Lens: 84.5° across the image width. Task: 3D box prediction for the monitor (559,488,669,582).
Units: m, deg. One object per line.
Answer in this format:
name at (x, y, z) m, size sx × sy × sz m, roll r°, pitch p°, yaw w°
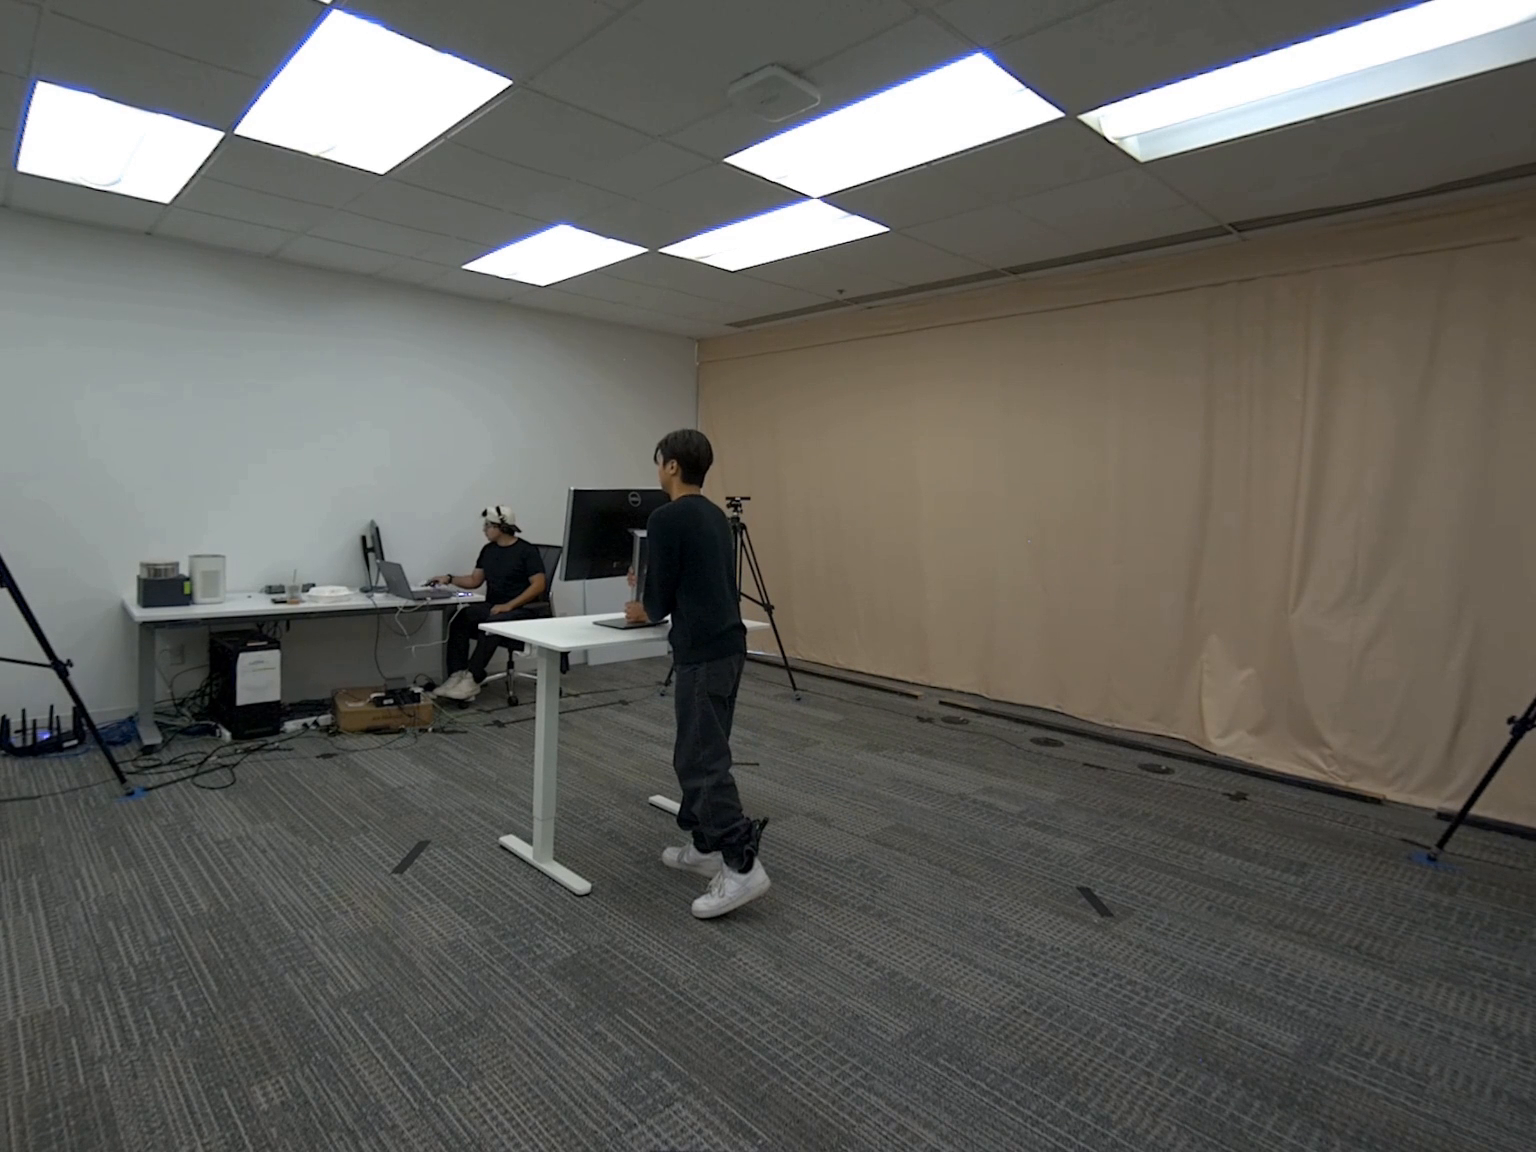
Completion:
monitor at (-0.548, -0.079, 3.327) m, size 0.178 × 0.515 × 0.519 m, roll -4°, pitch 3°, yaw 45°
